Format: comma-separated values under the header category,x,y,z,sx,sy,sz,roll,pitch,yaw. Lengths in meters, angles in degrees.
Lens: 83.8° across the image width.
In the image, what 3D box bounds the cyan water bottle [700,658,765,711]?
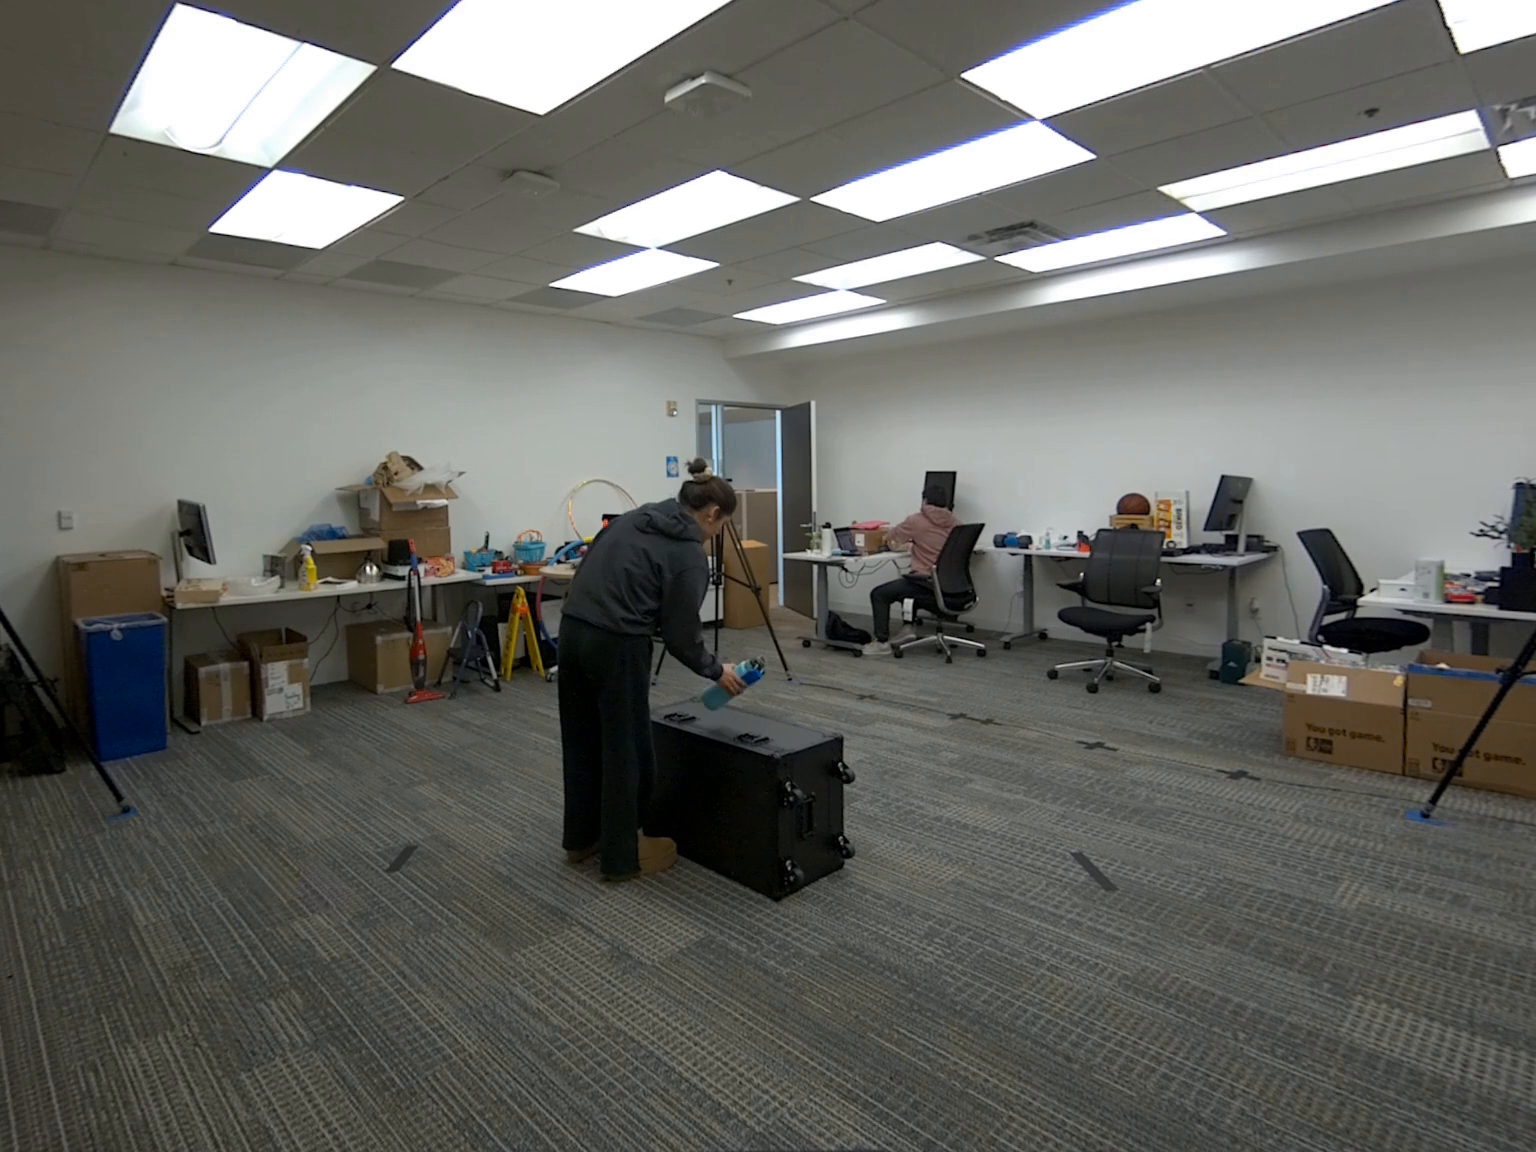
category,x,y,z,sx,sy,sz,roll,pitch,yaw
cyan water bottle,-0.125,0.400,3.147,0.285,0.094,0.090,-37,-12,24
